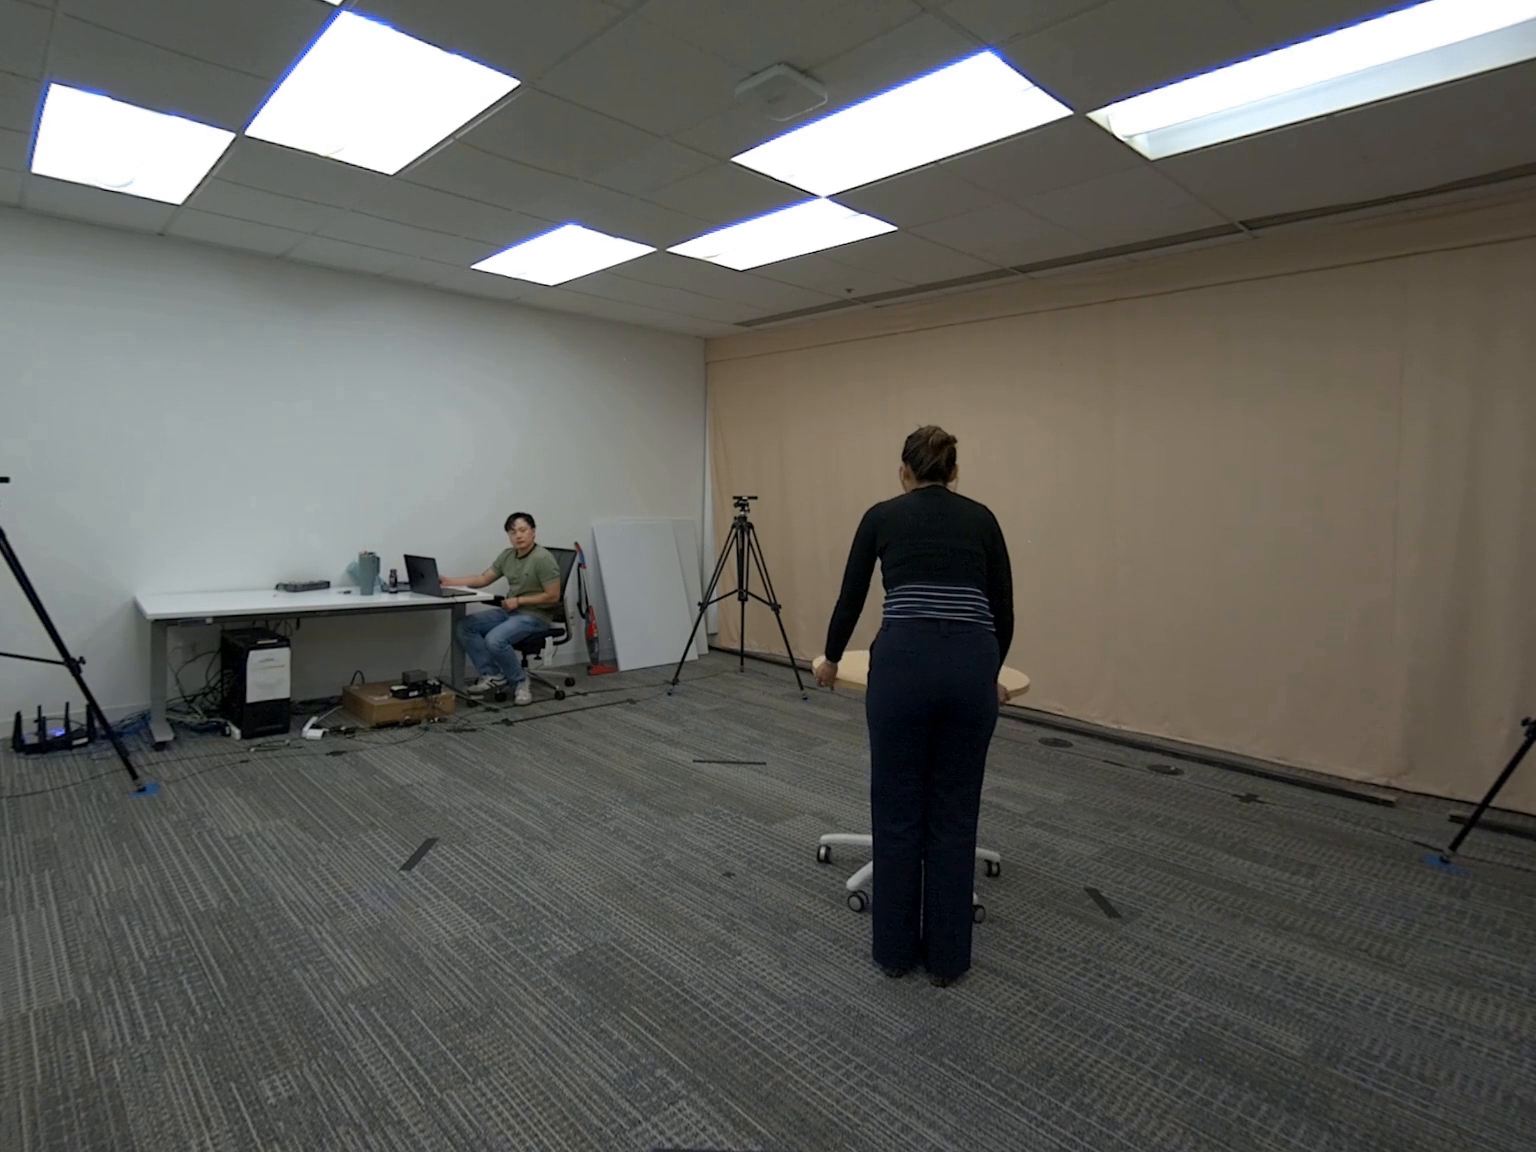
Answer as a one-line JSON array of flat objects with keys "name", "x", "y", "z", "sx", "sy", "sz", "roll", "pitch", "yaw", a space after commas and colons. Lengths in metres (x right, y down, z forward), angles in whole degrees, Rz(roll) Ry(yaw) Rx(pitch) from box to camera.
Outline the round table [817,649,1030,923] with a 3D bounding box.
[{"name": "round table", "x": 0.518, "y": 0.733, "z": 3.078, "sx": 0.763, "sy": 0.792, "sz": 0.766, "roll": 2, "pitch": 4, "yaw": -2}]
